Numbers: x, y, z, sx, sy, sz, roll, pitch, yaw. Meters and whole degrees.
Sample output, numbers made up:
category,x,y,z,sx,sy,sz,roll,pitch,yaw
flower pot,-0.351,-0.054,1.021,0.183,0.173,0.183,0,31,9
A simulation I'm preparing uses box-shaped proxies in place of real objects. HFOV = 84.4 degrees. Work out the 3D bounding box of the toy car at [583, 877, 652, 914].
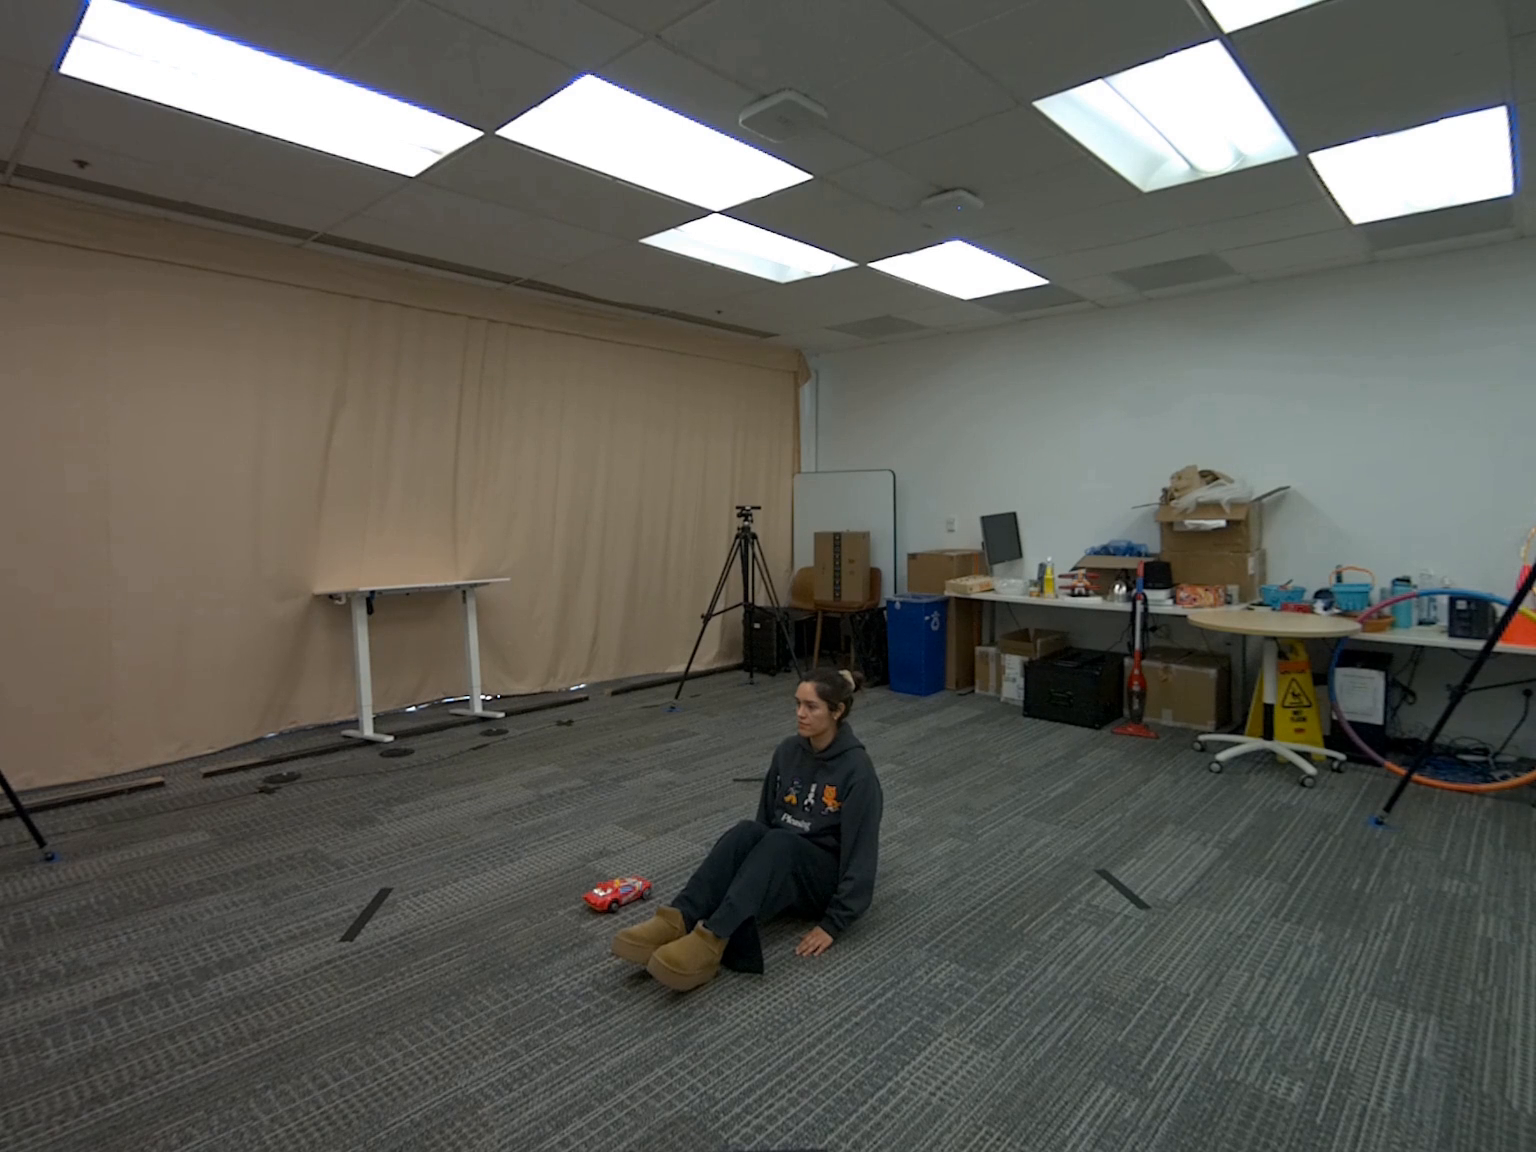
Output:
category,x,y,z,sx,sy,sz,roll,pitch,yaw
toy car,-0.516,1.125,2.960,0.246,0.083,0.134,10,-5,-44
